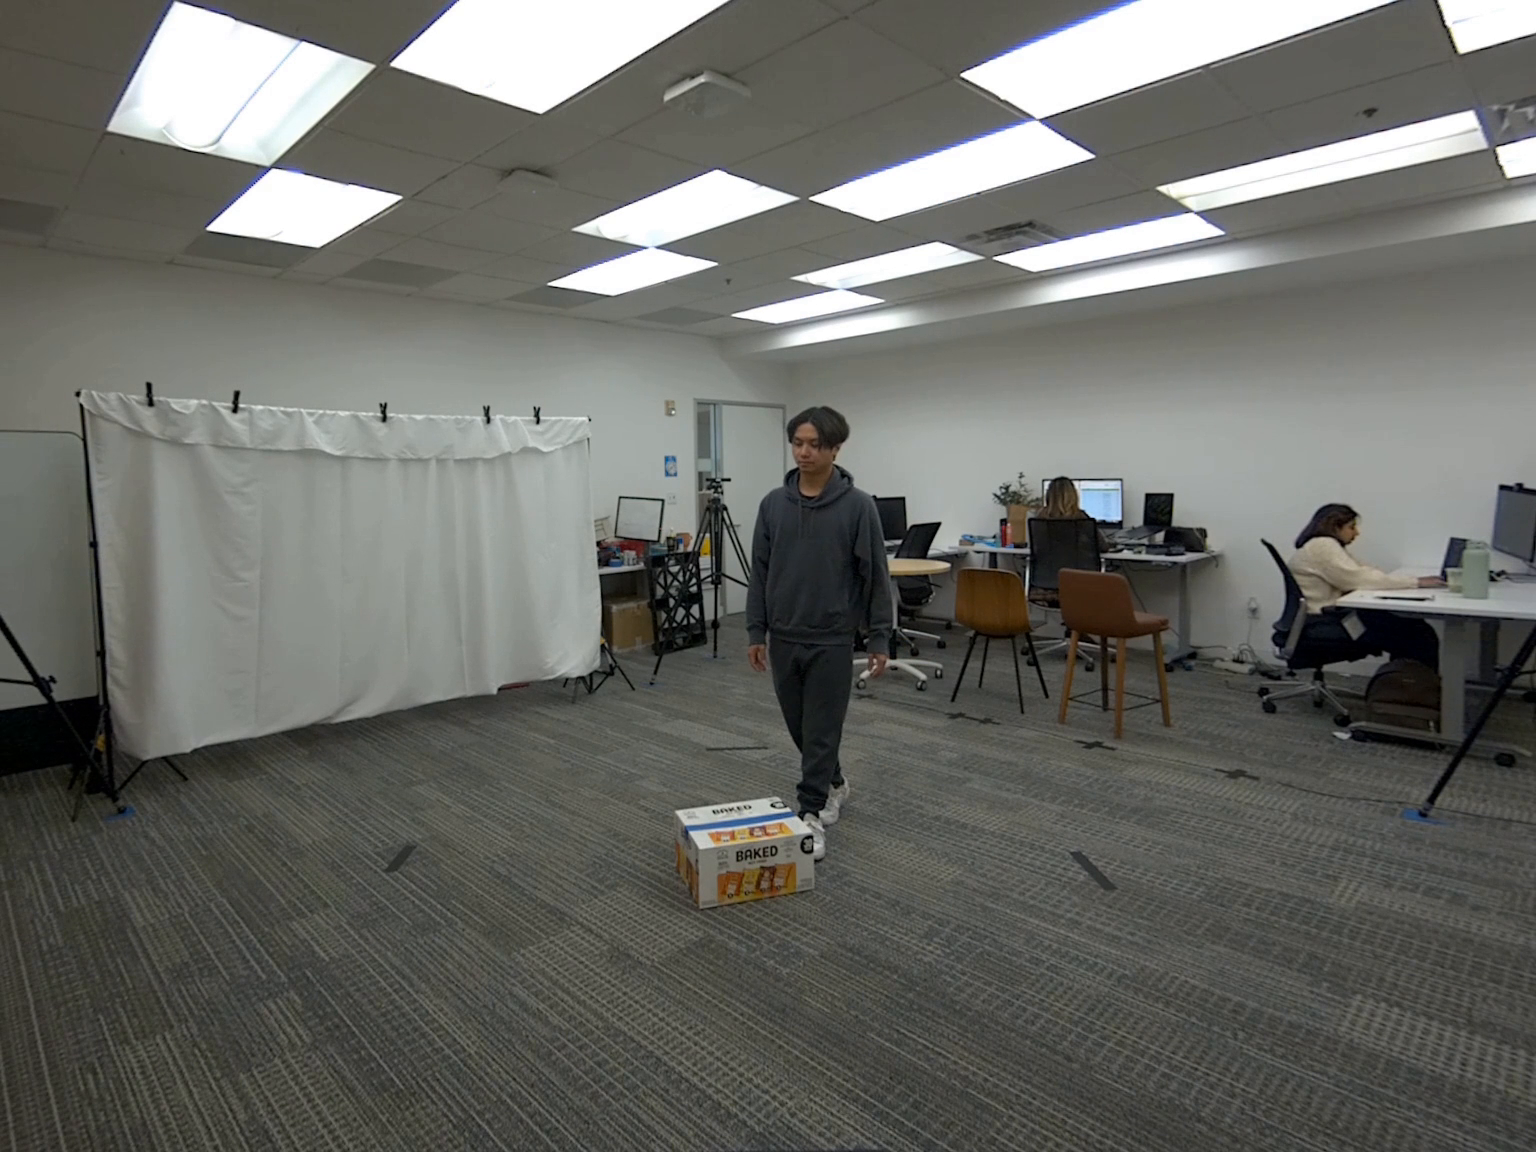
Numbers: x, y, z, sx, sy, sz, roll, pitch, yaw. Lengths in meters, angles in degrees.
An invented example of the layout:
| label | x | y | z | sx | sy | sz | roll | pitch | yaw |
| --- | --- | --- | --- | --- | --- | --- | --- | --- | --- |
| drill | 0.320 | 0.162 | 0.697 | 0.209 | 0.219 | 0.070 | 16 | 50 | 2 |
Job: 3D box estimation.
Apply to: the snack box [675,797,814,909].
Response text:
| label | x | y | z | sx | sy | sz | roll | pitch | yaw |
| --- | --- | --- | --- | --- | --- | --- | --- | --- | --- |
| snack box | -0.088 | 0.955 | 2.983 | 0.399 | 0.205 | 0.347 | -3 | 6 | -18 |
